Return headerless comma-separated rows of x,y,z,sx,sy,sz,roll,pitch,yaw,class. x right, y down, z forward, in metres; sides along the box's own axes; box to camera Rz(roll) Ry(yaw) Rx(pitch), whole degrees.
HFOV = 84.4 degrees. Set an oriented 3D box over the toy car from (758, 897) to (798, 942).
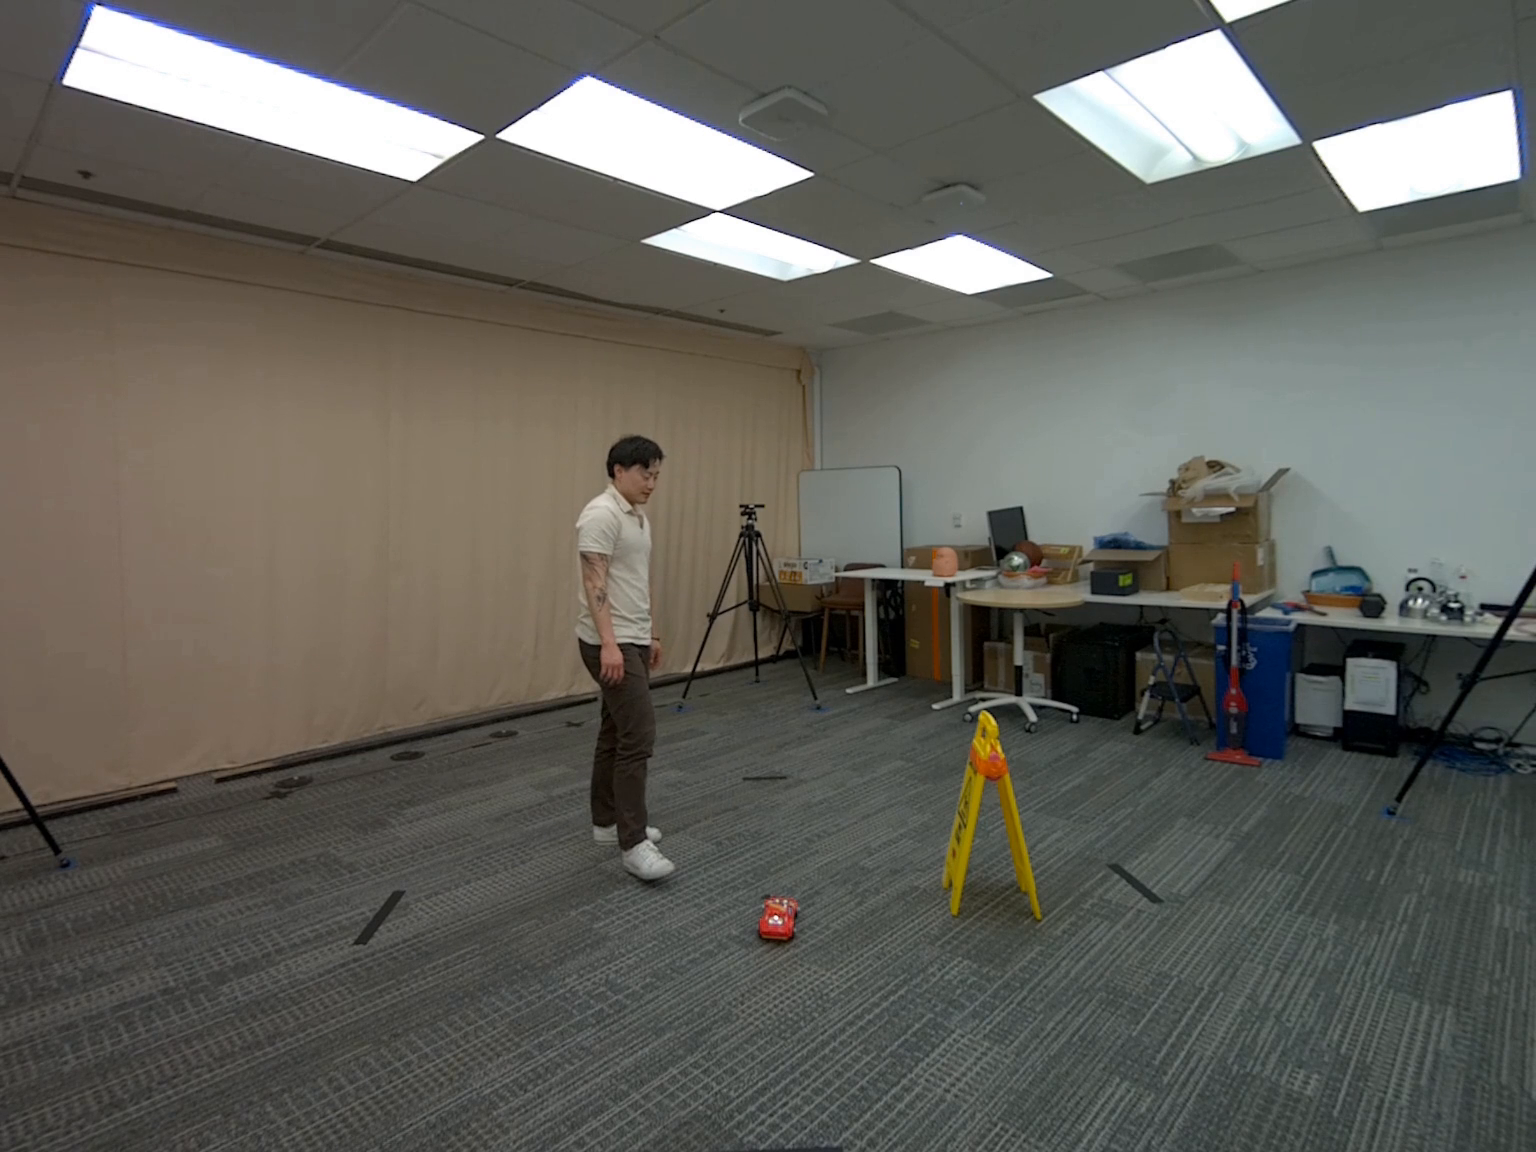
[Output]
0.033,1.128,2.752,0.132,0.083,0.251,0,-6,9,toy car
